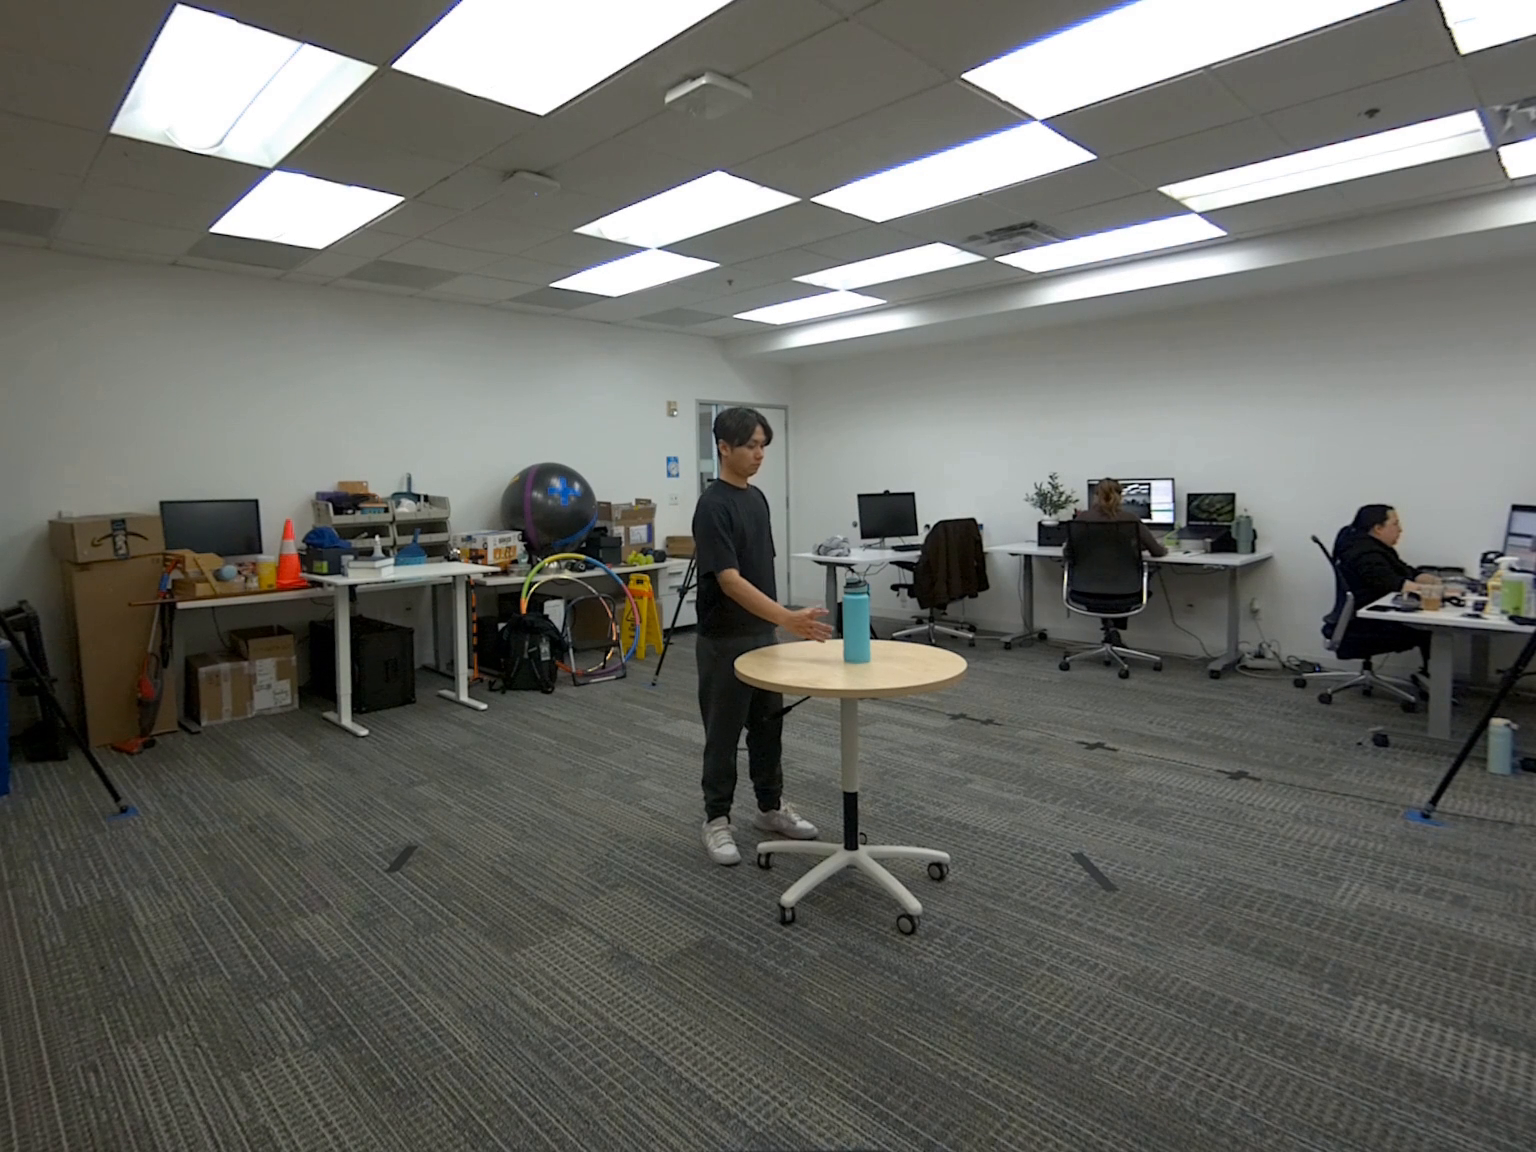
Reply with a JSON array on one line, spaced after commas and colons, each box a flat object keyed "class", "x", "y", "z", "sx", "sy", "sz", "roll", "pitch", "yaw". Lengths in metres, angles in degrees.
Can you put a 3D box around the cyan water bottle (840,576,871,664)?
[{"class": "cyan water bottle", "x": 0.300, "y": 0.144, "z": 2.855, "sx": 0.092, "sy": 0.283, "sz": 0.092, "roll": -1, "pitch": 2, "yaw": -2}]
